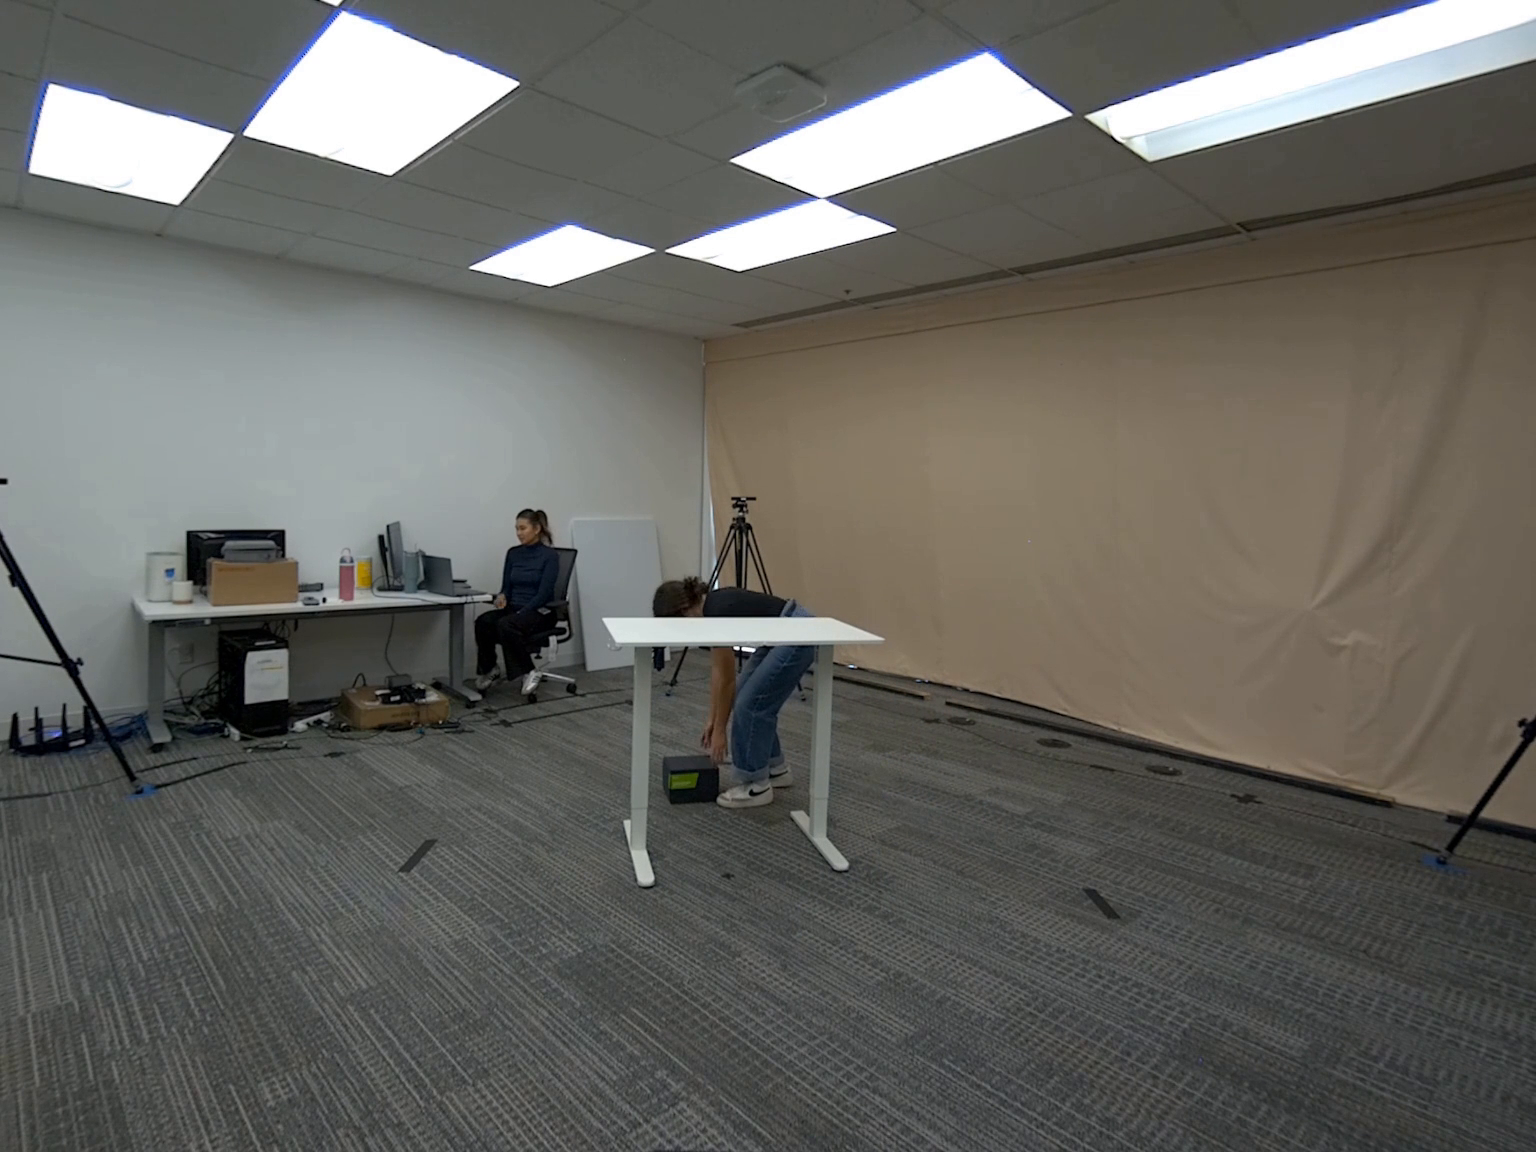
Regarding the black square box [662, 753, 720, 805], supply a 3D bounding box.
[{"bbox_3d":[-0.373,0.946,3.947,0.225,0.155,0.220,1,4,-16],"label":"black square box"}]
